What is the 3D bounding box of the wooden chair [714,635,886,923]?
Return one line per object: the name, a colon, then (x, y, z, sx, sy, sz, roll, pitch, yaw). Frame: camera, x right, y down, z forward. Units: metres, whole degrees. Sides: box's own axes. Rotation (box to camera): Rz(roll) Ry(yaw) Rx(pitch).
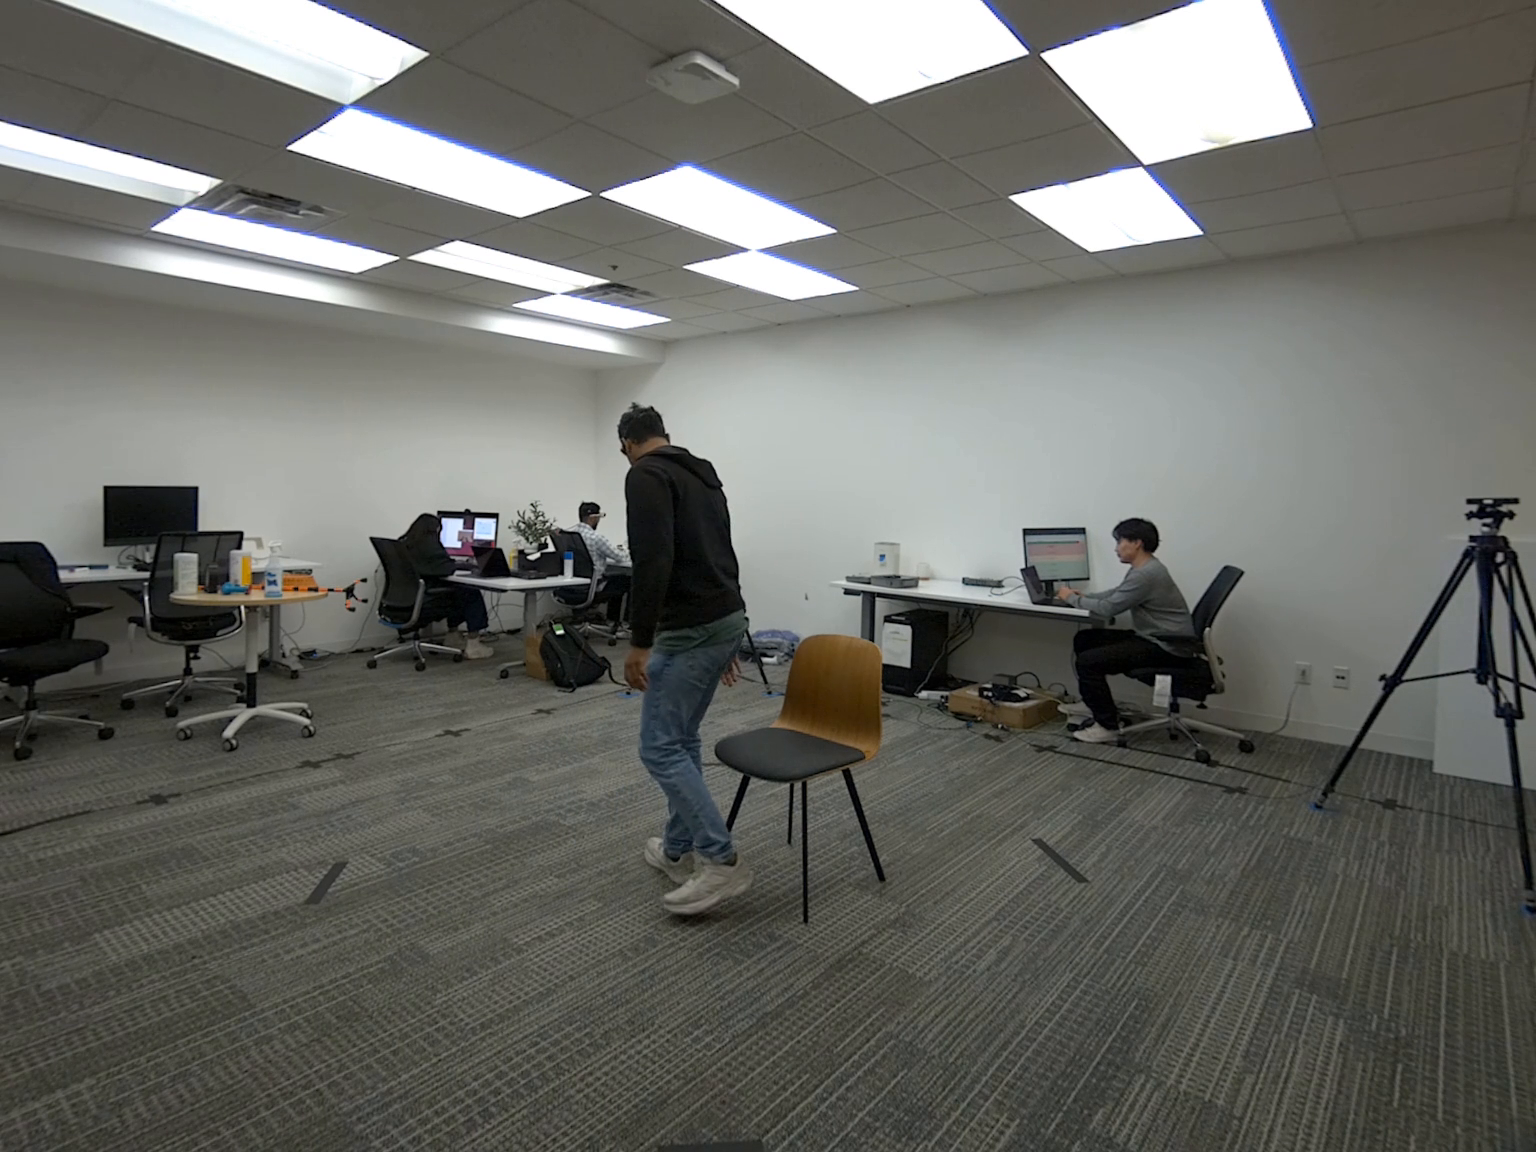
wooden chair: (0.099, 0.658, 3.012, 0.494, 0.877, 0.506, 5, 1, 43)
